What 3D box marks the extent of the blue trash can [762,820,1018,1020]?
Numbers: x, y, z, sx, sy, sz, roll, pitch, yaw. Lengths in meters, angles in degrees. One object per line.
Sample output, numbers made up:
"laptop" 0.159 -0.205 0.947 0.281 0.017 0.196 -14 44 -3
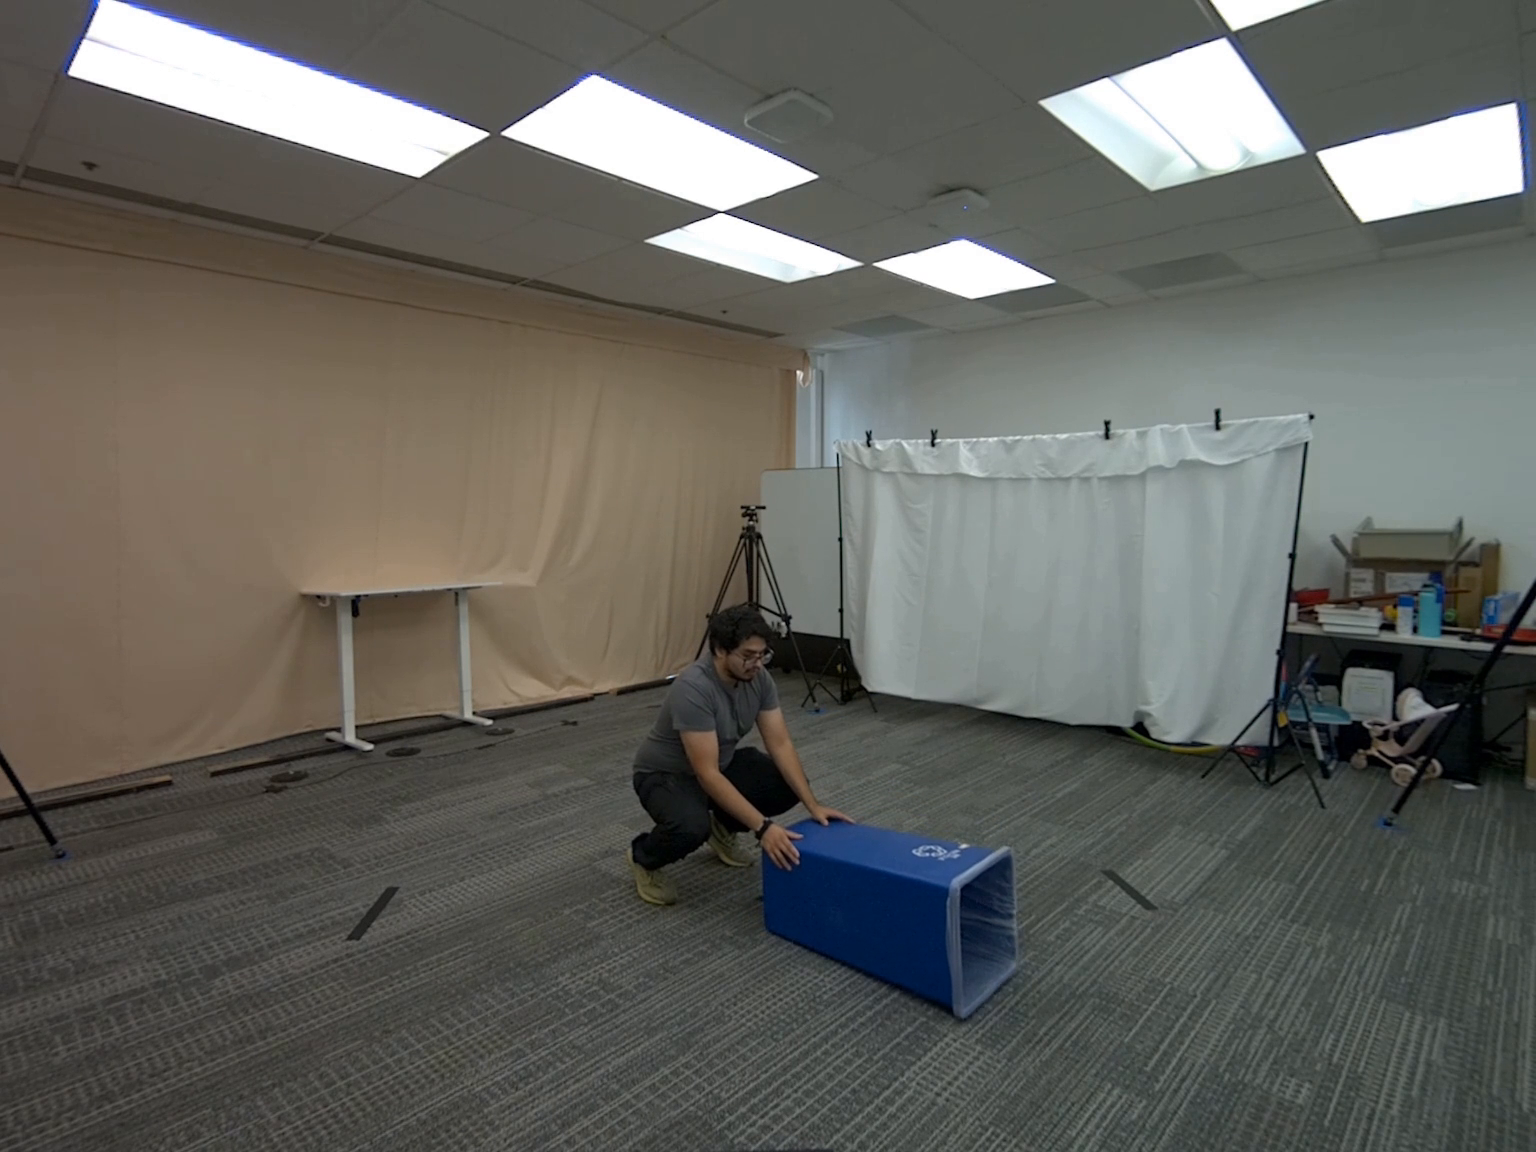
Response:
"blue trash can" 0.355 1.001 2.612 0.736 0.378 0.362 -2 1 41
